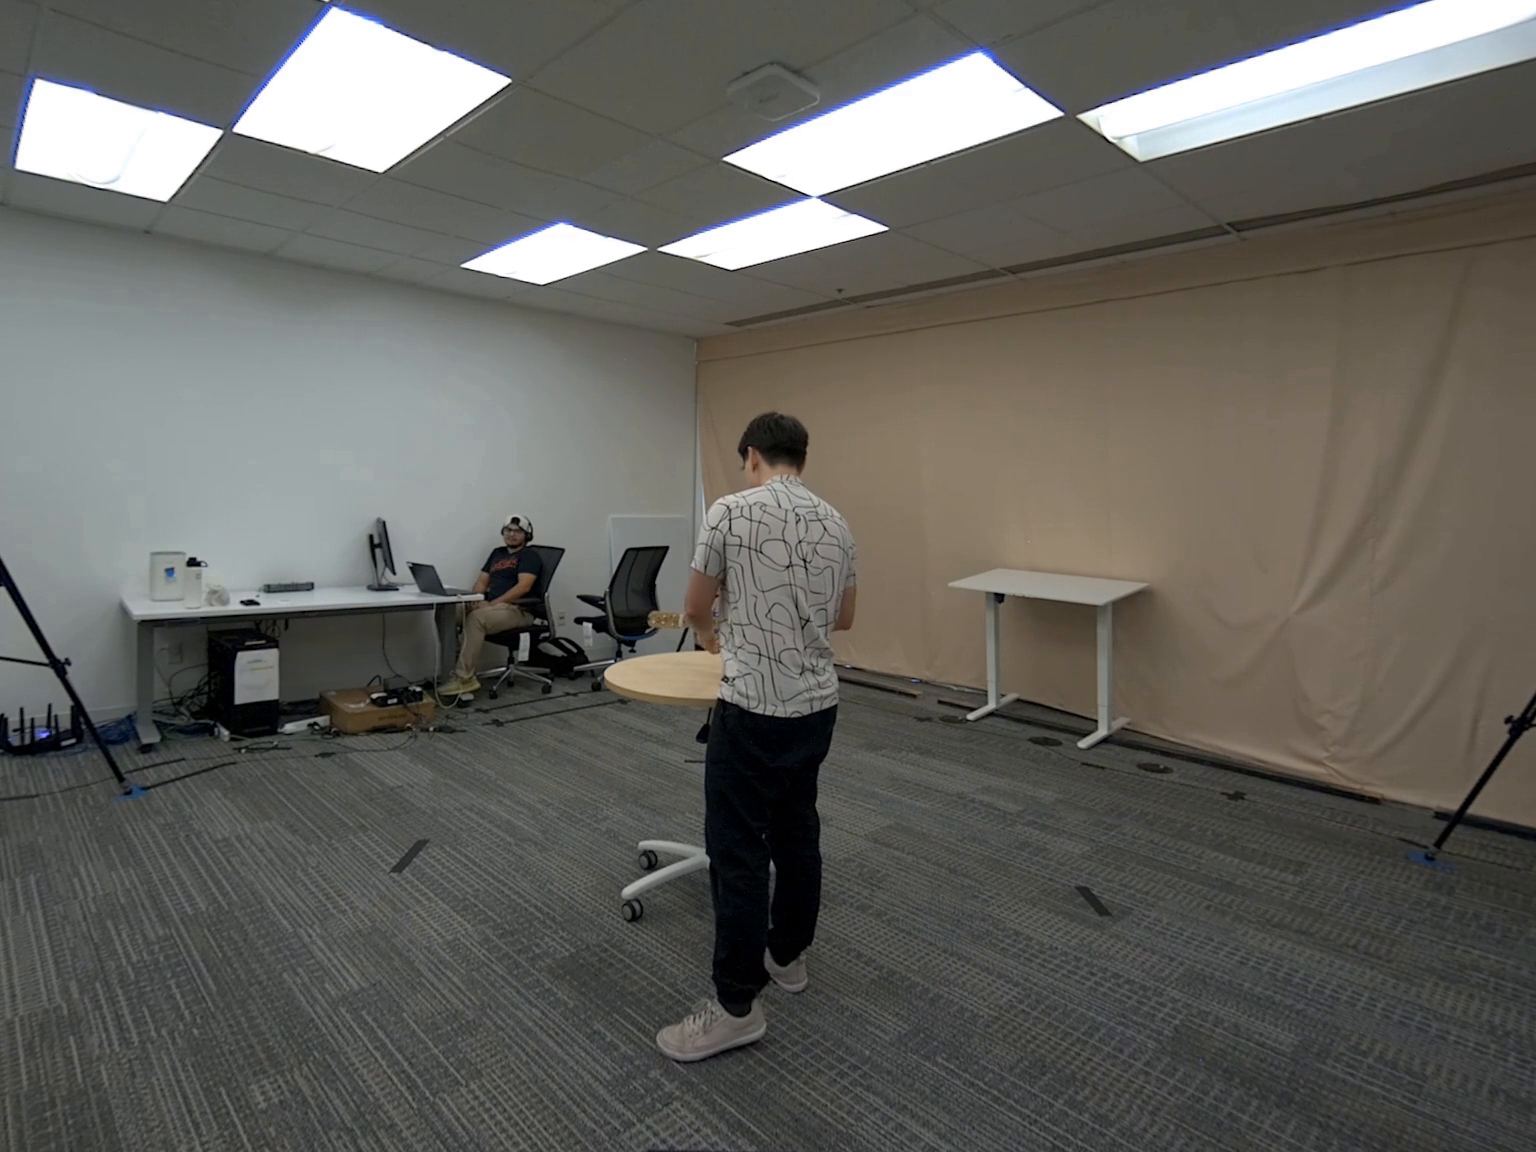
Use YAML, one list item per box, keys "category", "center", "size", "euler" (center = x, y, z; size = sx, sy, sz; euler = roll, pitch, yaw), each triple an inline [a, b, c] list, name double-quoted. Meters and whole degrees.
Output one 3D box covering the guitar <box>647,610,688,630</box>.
- category: "guitar"
  center: [-0.171, 0.149, 2.894]
  size: [0.507, 0.193, 0.069]
  euler: [12, -5, 21]
